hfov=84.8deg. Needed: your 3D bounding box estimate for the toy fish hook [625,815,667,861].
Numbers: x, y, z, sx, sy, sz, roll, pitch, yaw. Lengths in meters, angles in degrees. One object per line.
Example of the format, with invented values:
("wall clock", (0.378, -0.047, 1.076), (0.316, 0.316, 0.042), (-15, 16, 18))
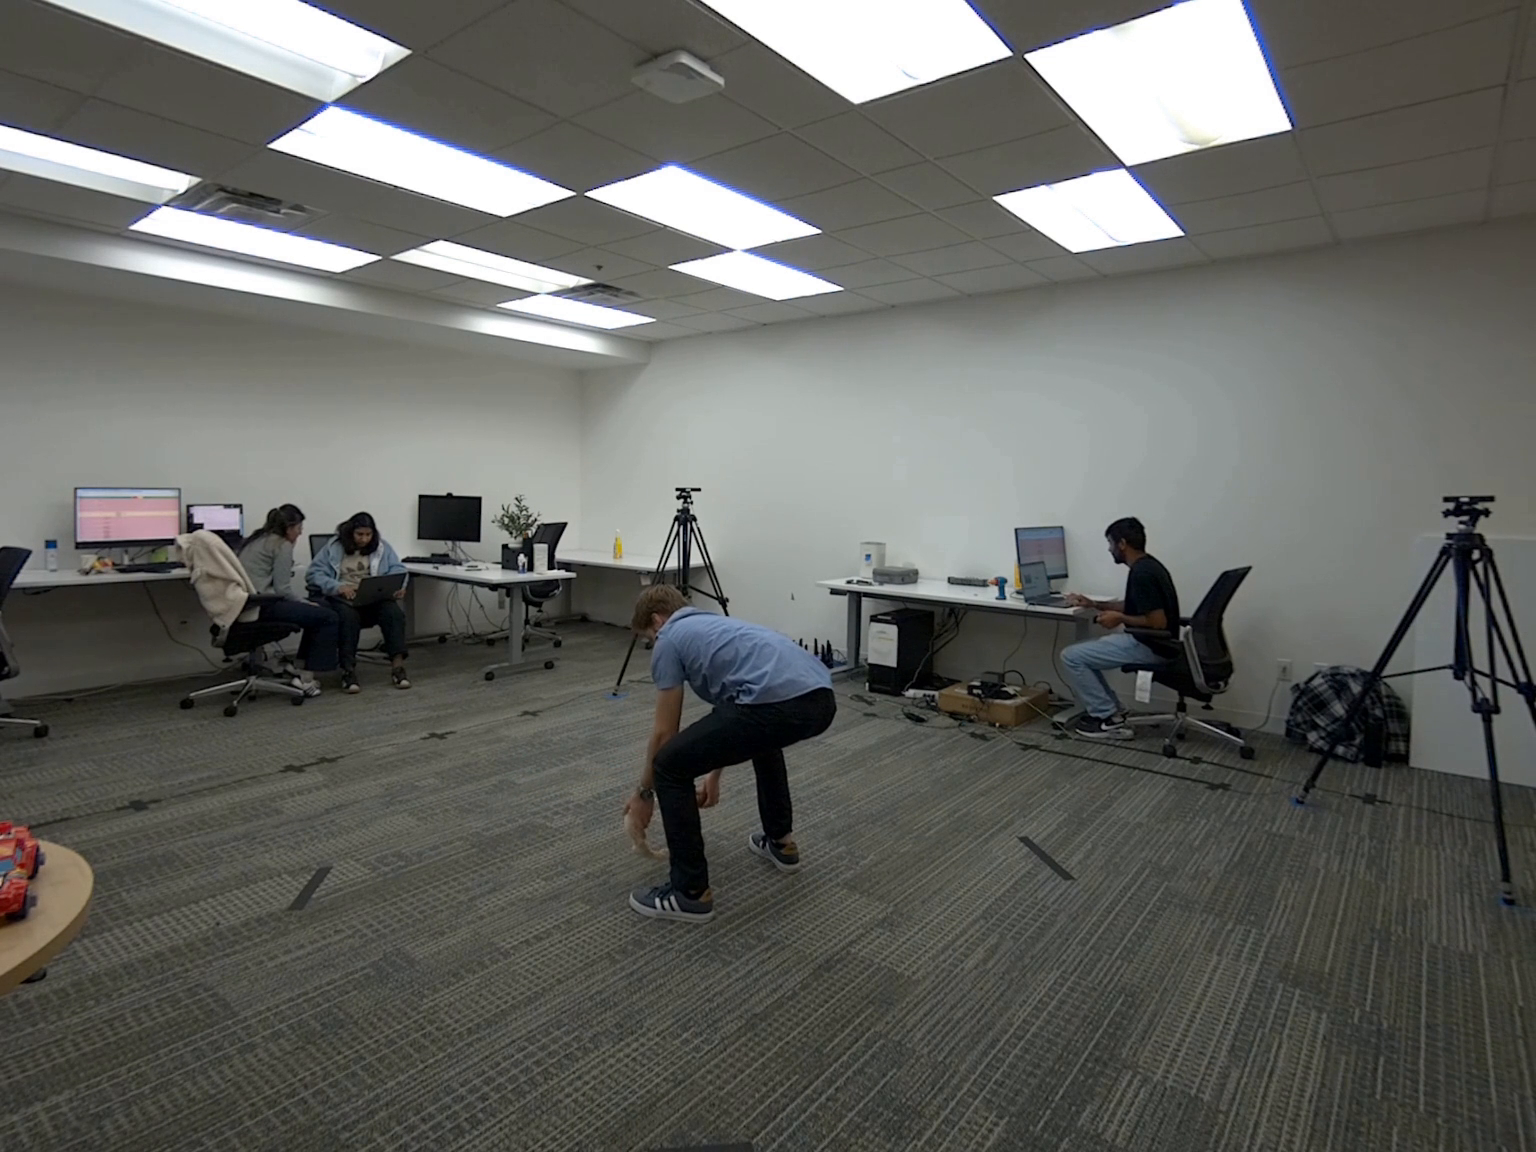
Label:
("toy fish hook", (-0.347, 0.927, 3.182), (0.049, 0.228, 0.491), (-29, -16, 35))
